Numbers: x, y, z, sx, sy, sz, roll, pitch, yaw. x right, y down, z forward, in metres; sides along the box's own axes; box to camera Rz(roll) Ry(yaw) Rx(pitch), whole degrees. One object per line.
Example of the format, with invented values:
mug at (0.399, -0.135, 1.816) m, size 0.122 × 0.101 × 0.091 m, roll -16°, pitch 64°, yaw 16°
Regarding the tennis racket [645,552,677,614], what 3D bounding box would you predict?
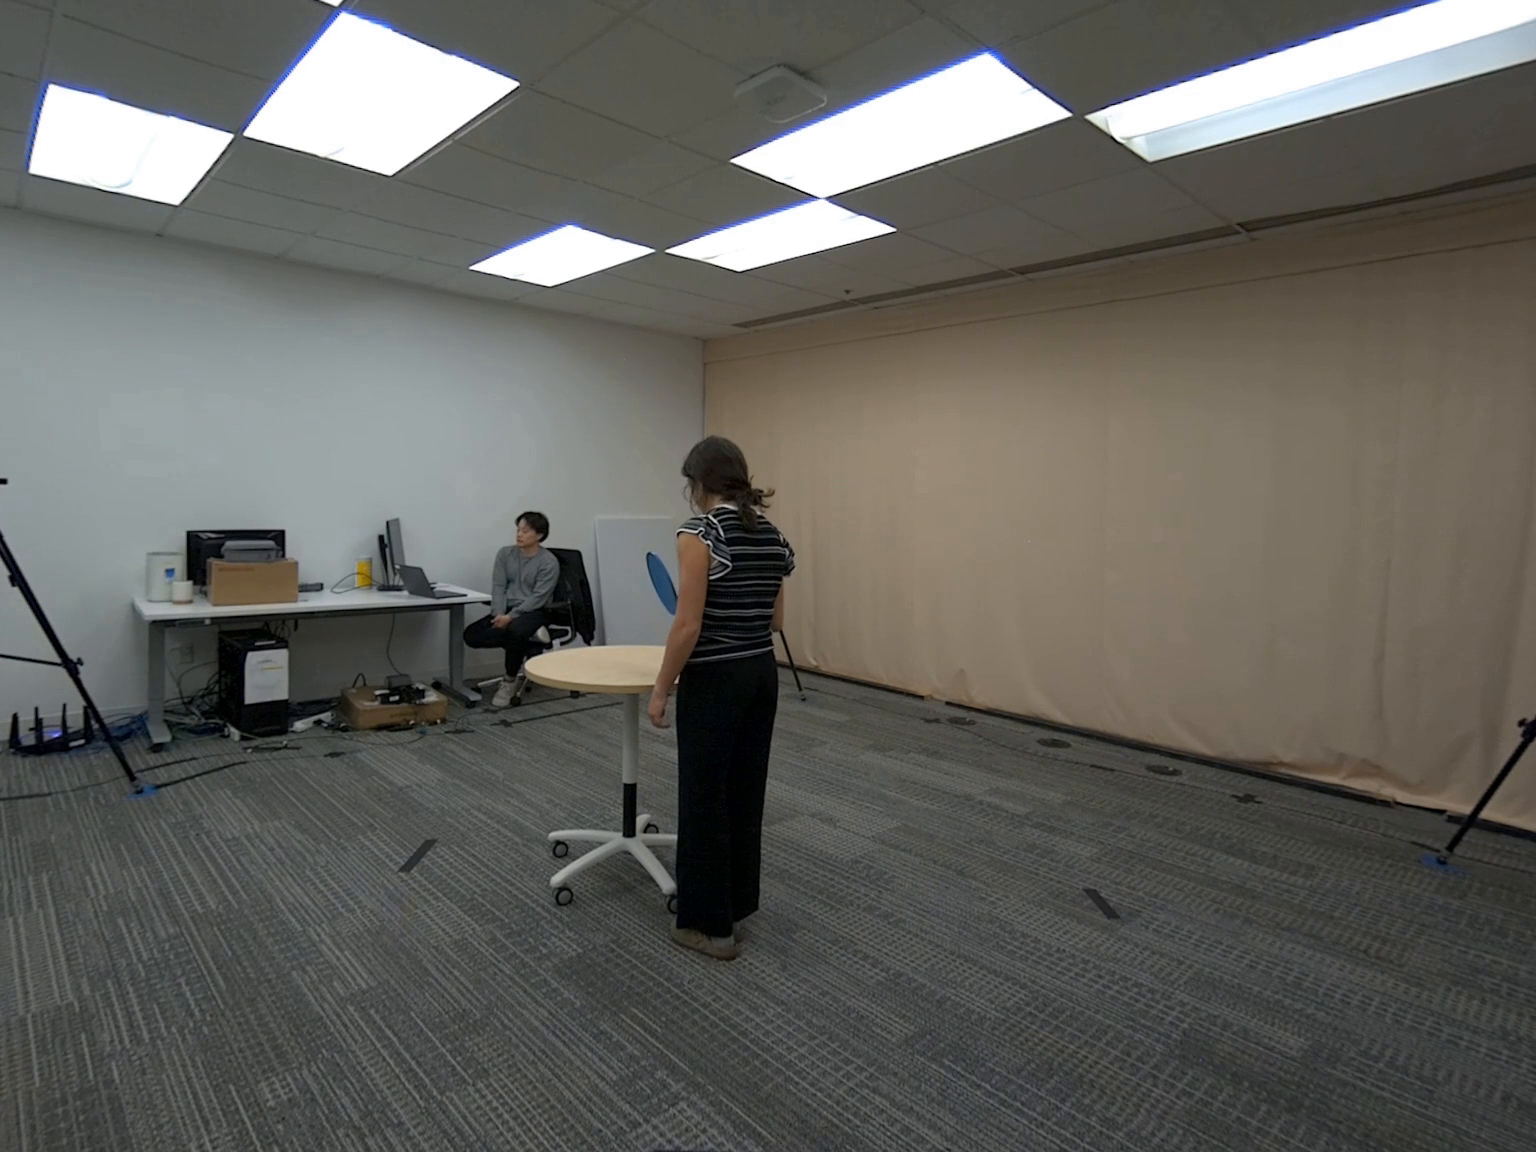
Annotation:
tennis racket at (-0.344, 0.081, 2.955) m, size 0.031 × 0.209 × 0.446 m, roll -17°, pitch 47°, yaw -17°
